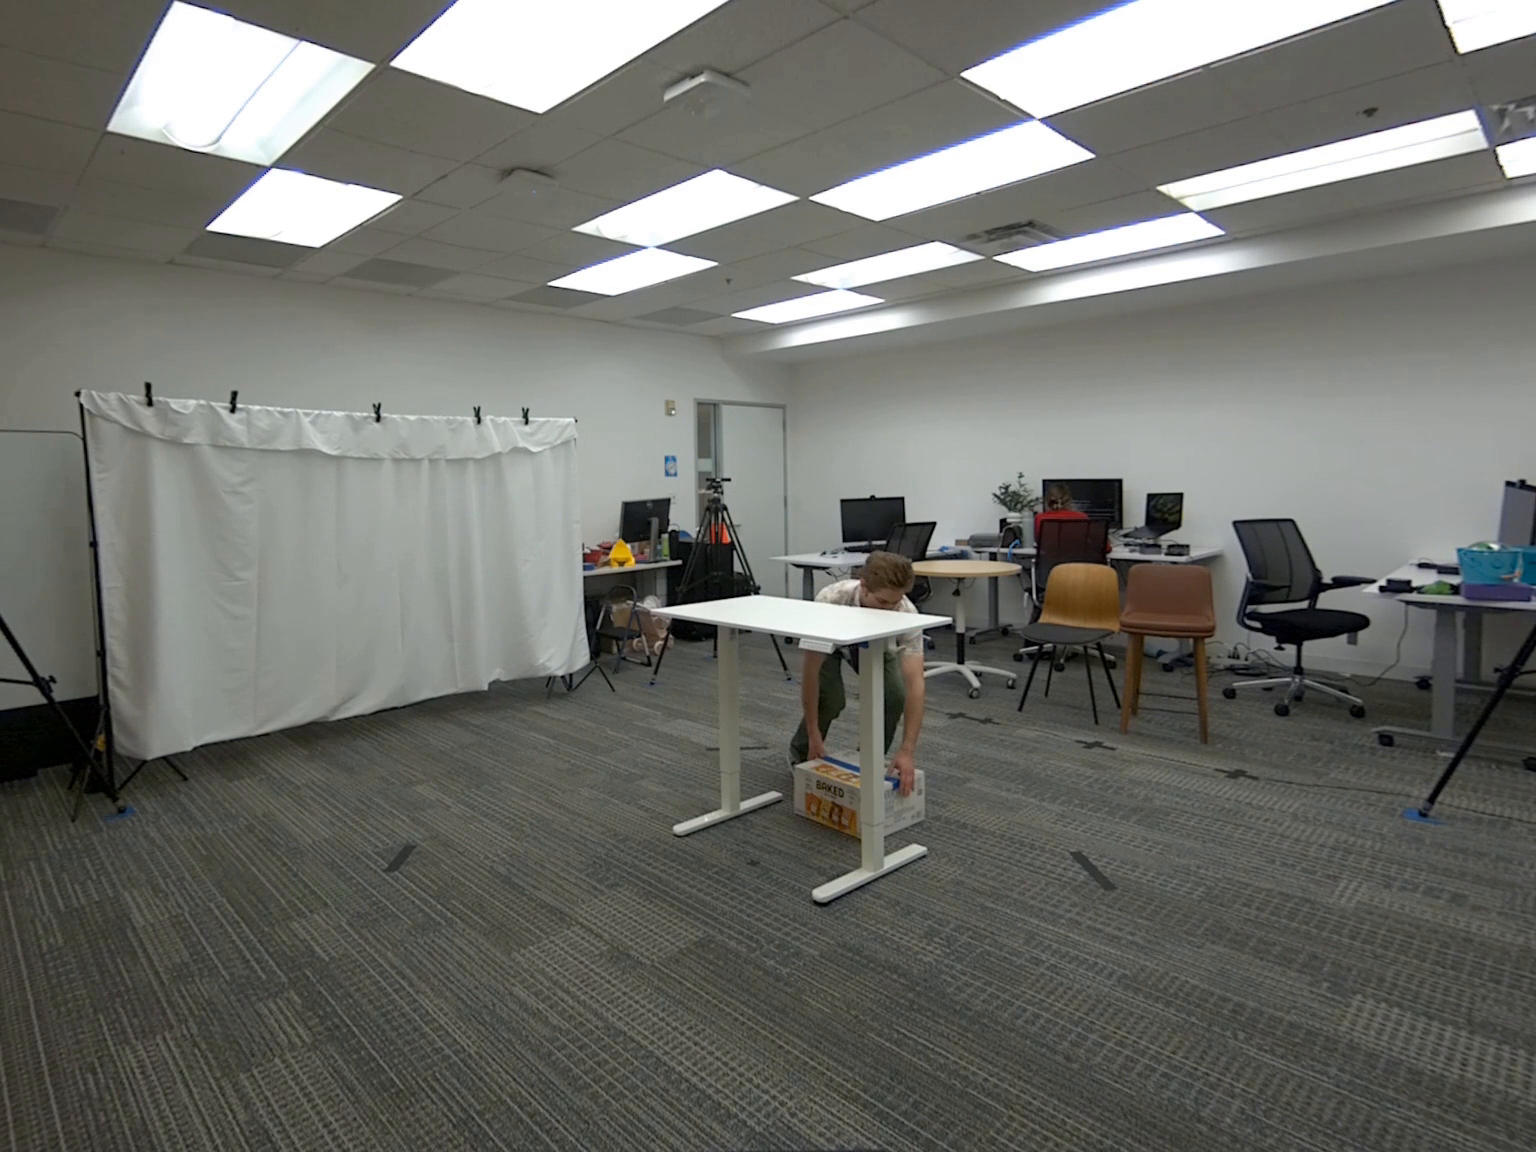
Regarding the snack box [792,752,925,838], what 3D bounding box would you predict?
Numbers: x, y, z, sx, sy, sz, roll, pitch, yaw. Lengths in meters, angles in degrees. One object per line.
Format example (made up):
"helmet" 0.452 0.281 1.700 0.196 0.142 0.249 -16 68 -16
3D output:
"snack box" 0.374 0.892 3.501 0.331 0.205 0.418 -6 8 -41
